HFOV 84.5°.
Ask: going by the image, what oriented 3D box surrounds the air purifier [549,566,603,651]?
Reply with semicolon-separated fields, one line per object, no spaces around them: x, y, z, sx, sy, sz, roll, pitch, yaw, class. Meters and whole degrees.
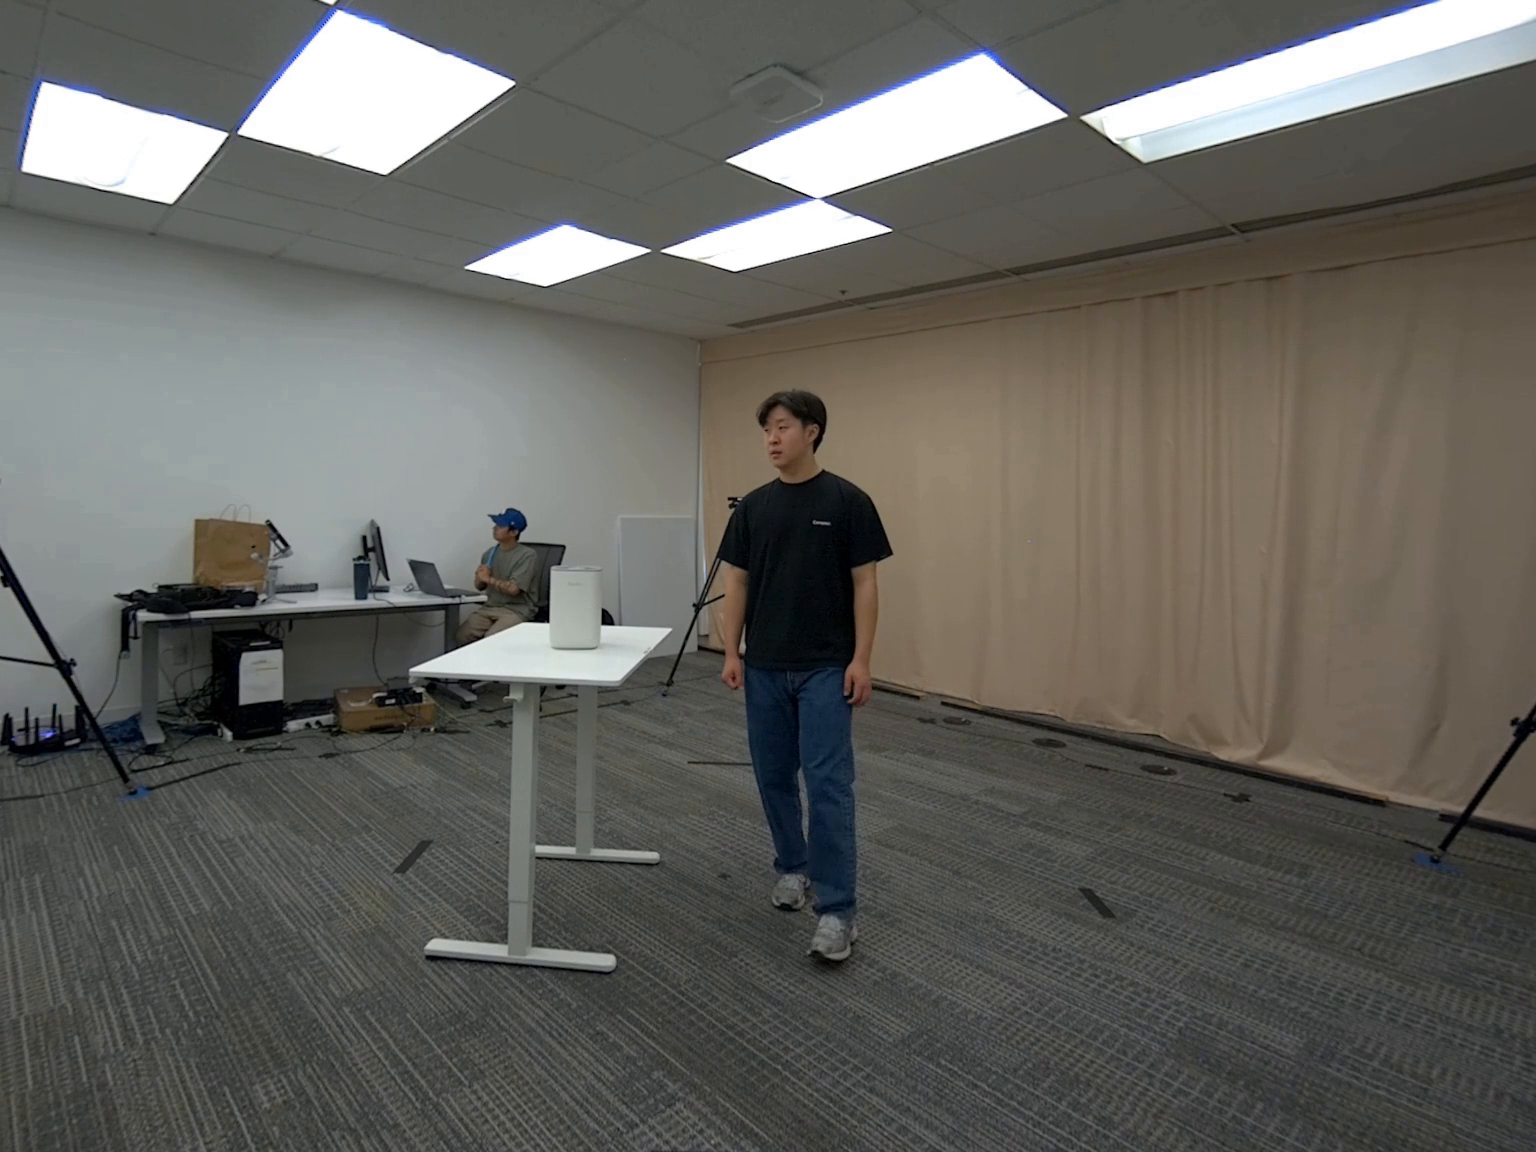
-0.650;0.105;2.841;0.170;0.265;0.173;1;1;-8;air purifier
